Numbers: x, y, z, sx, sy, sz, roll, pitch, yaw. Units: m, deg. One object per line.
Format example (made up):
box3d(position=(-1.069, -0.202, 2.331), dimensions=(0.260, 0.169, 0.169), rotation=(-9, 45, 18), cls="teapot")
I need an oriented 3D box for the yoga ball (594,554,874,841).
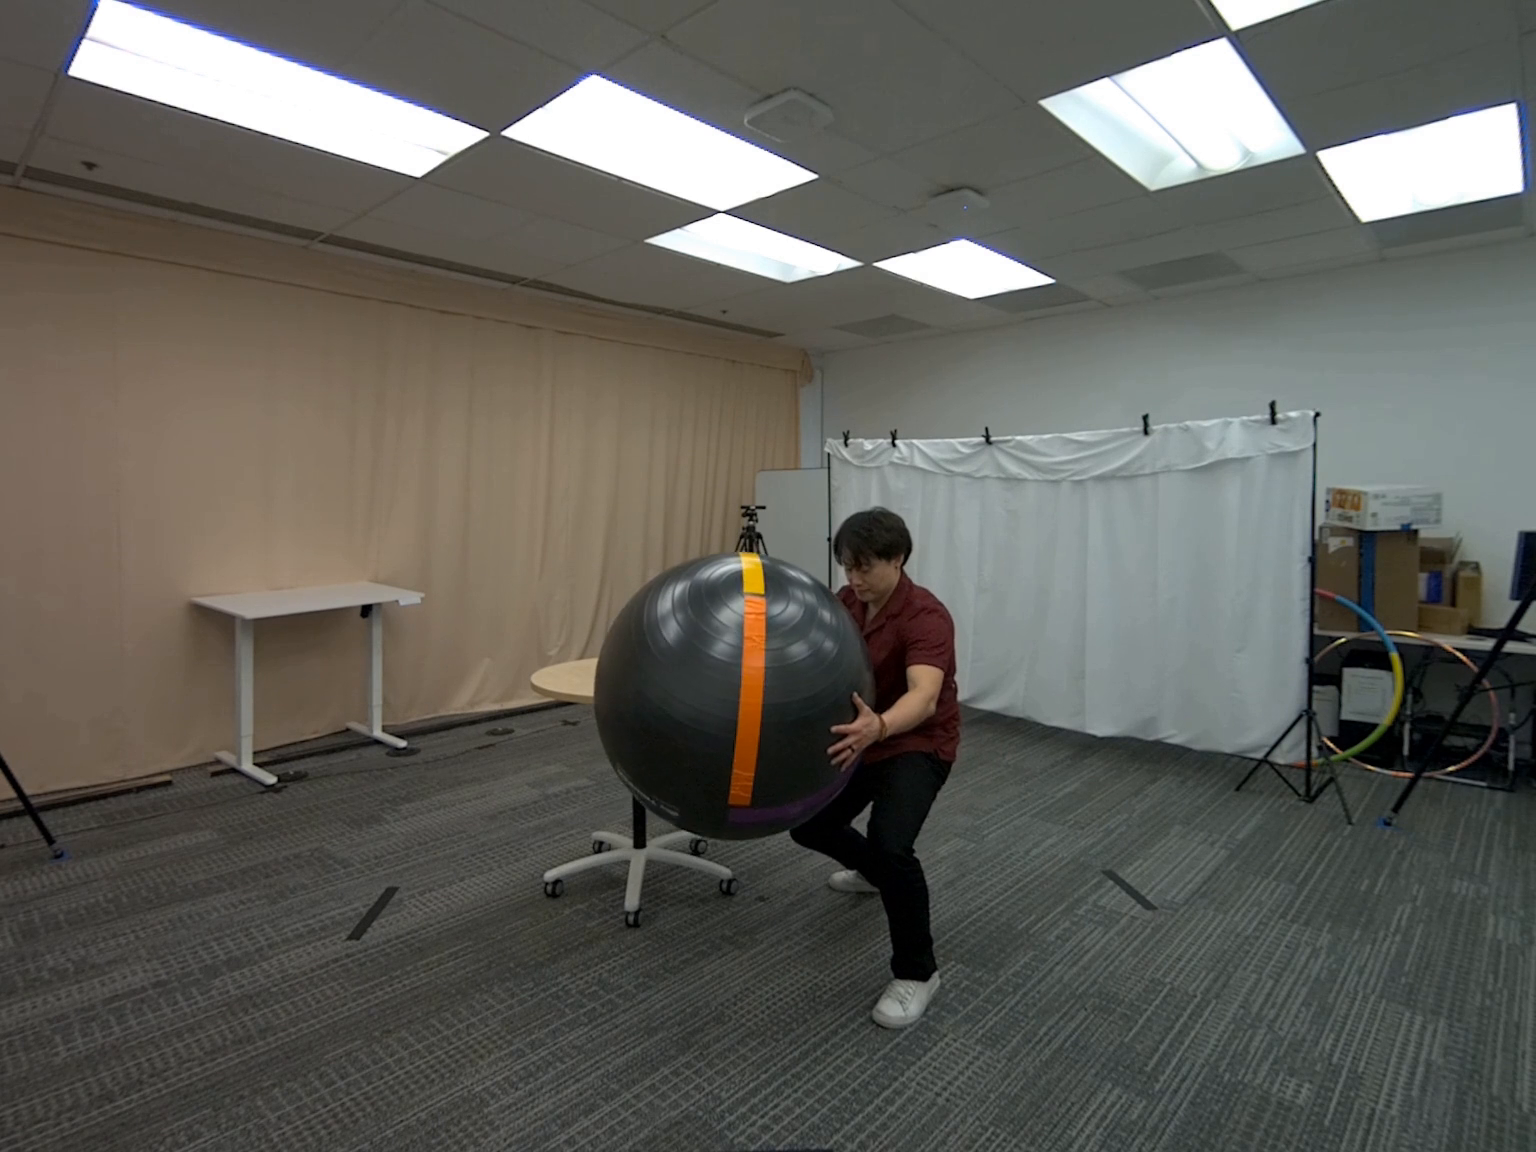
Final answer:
box3d(position=(-0.093, 0.326, 2.259), dimensions=(0.757, 0.756, 0.761), rotation=(0, 4, -2), cls="yoga ball")
